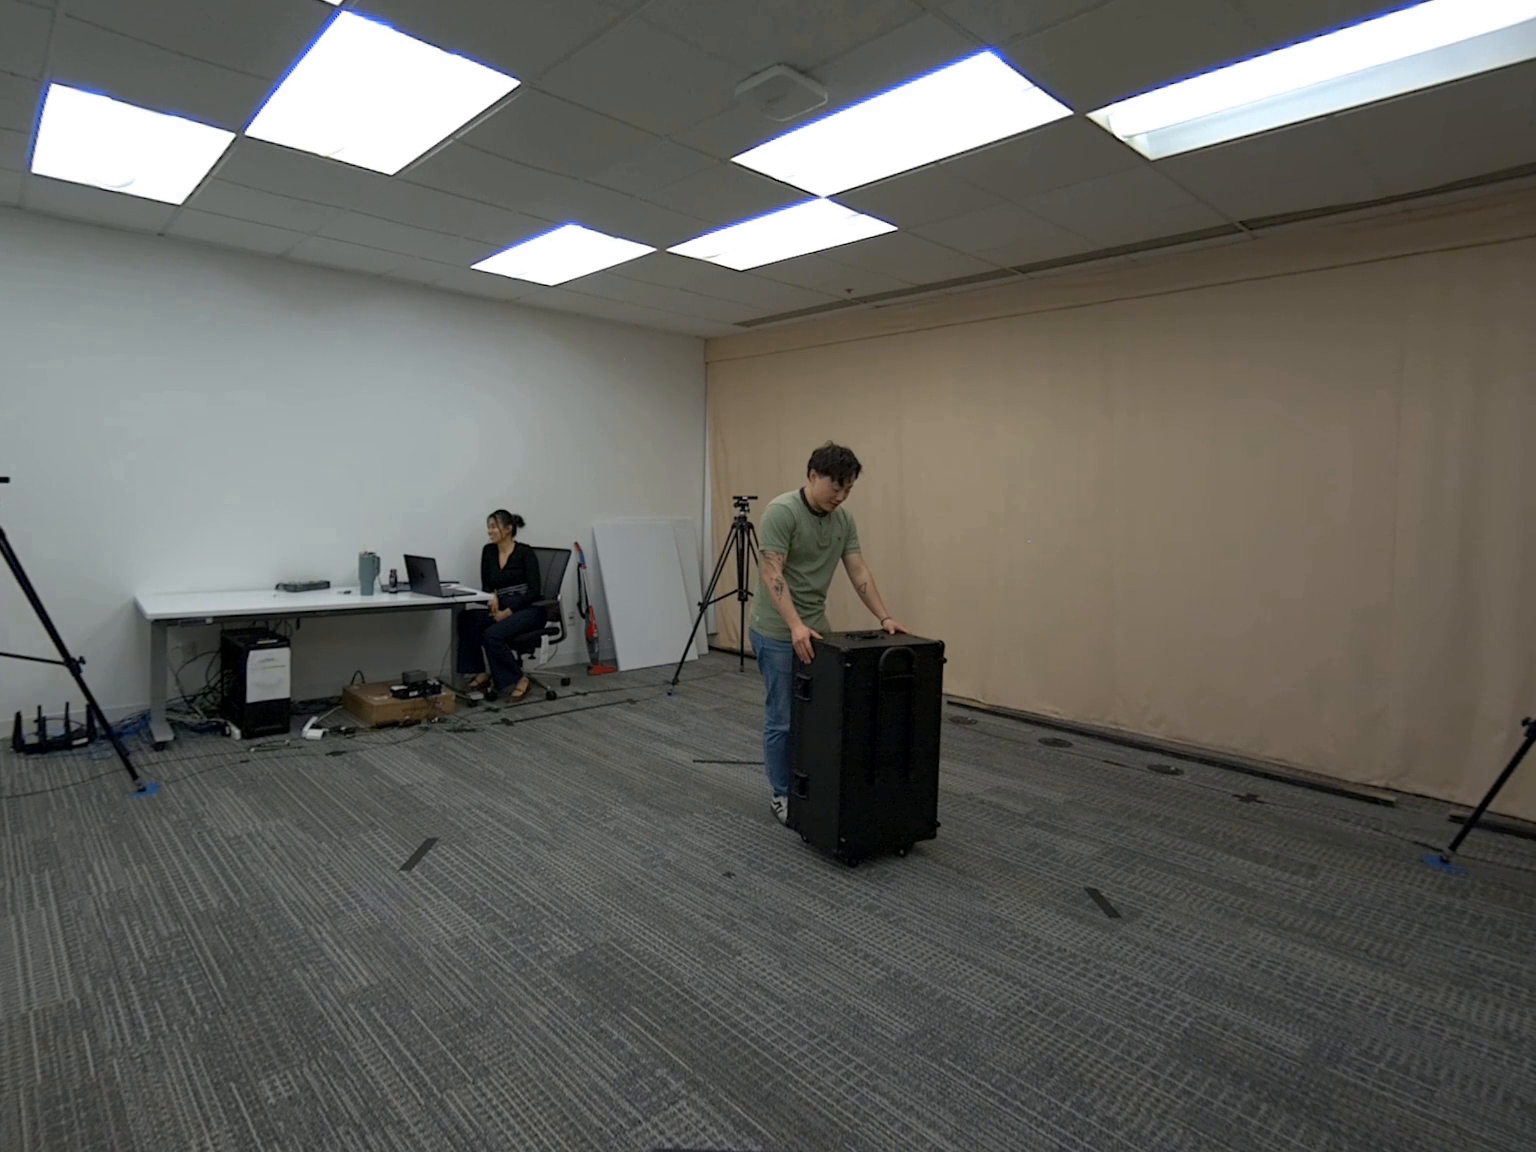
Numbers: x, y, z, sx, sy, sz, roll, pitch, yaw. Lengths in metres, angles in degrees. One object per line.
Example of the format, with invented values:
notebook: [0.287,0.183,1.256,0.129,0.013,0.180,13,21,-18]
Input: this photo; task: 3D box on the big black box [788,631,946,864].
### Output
big black box: [0.391,0.671,3.332,0.511,0.858,0.405,0,5,-29]
